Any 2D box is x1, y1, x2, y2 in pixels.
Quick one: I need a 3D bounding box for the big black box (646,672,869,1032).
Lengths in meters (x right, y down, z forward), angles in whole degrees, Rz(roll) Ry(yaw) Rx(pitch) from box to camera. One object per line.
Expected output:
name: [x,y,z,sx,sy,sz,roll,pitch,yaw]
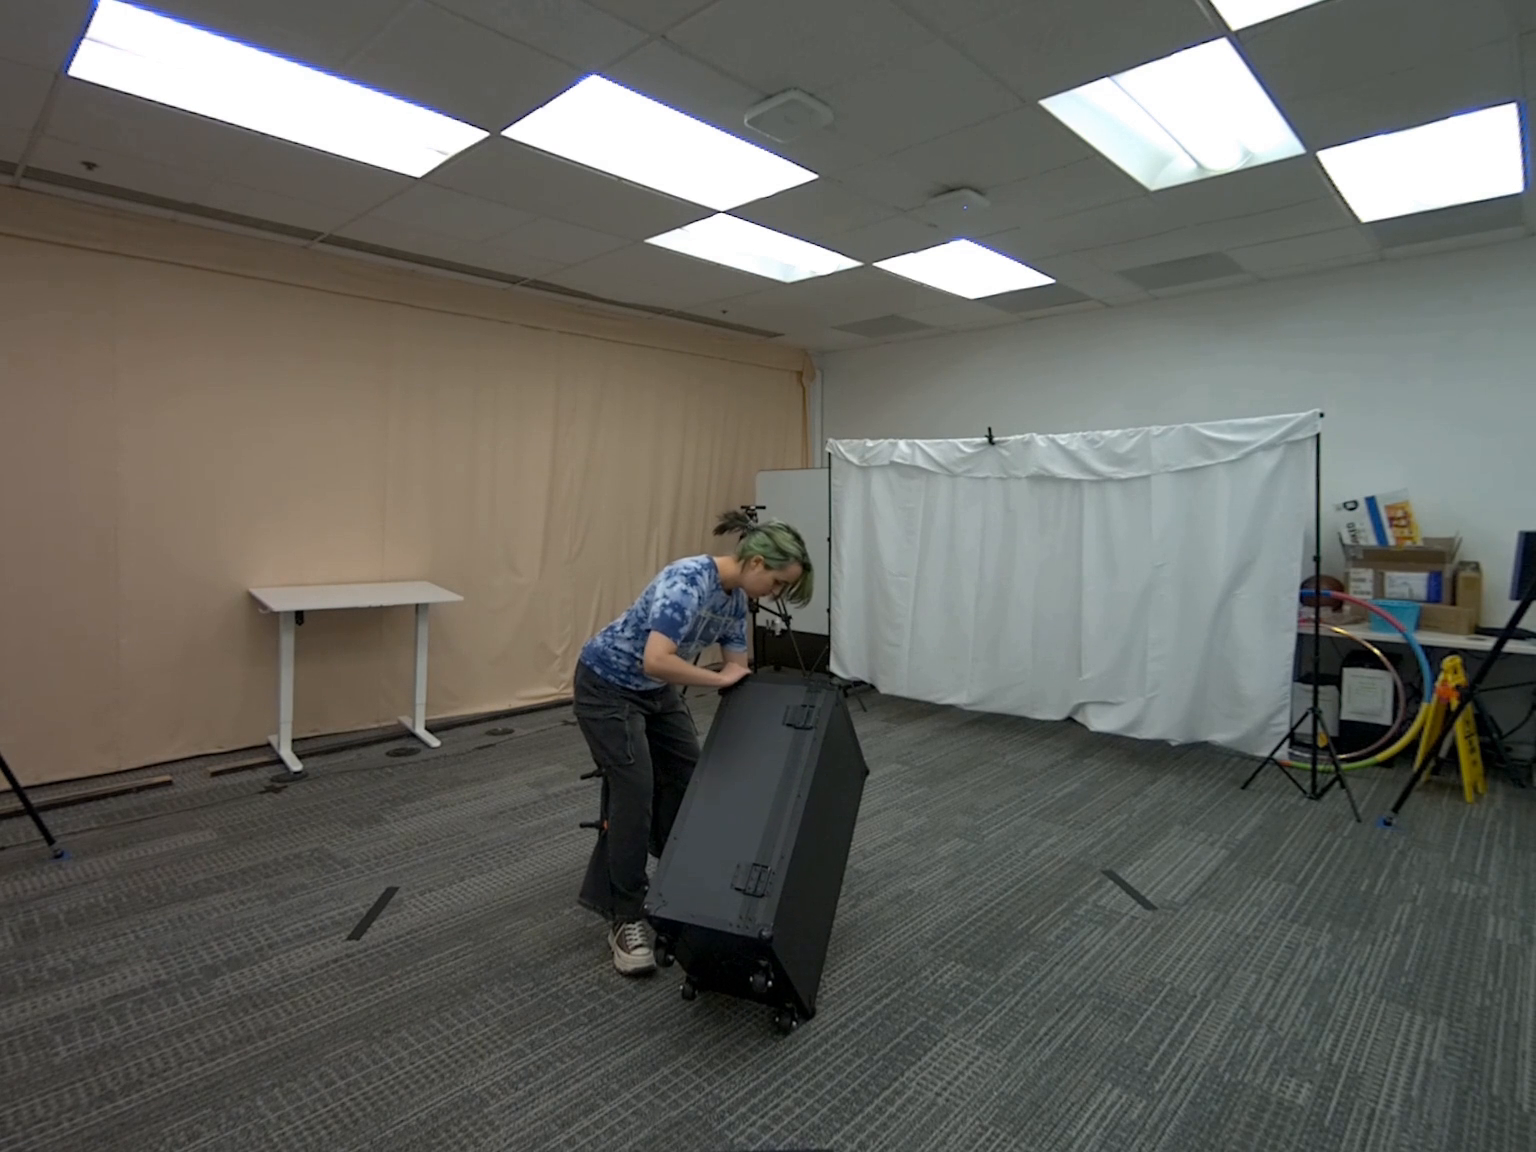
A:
big black box: [-0.009,0.774,2.439,0.406,0.506,0.865,0,45,23]
